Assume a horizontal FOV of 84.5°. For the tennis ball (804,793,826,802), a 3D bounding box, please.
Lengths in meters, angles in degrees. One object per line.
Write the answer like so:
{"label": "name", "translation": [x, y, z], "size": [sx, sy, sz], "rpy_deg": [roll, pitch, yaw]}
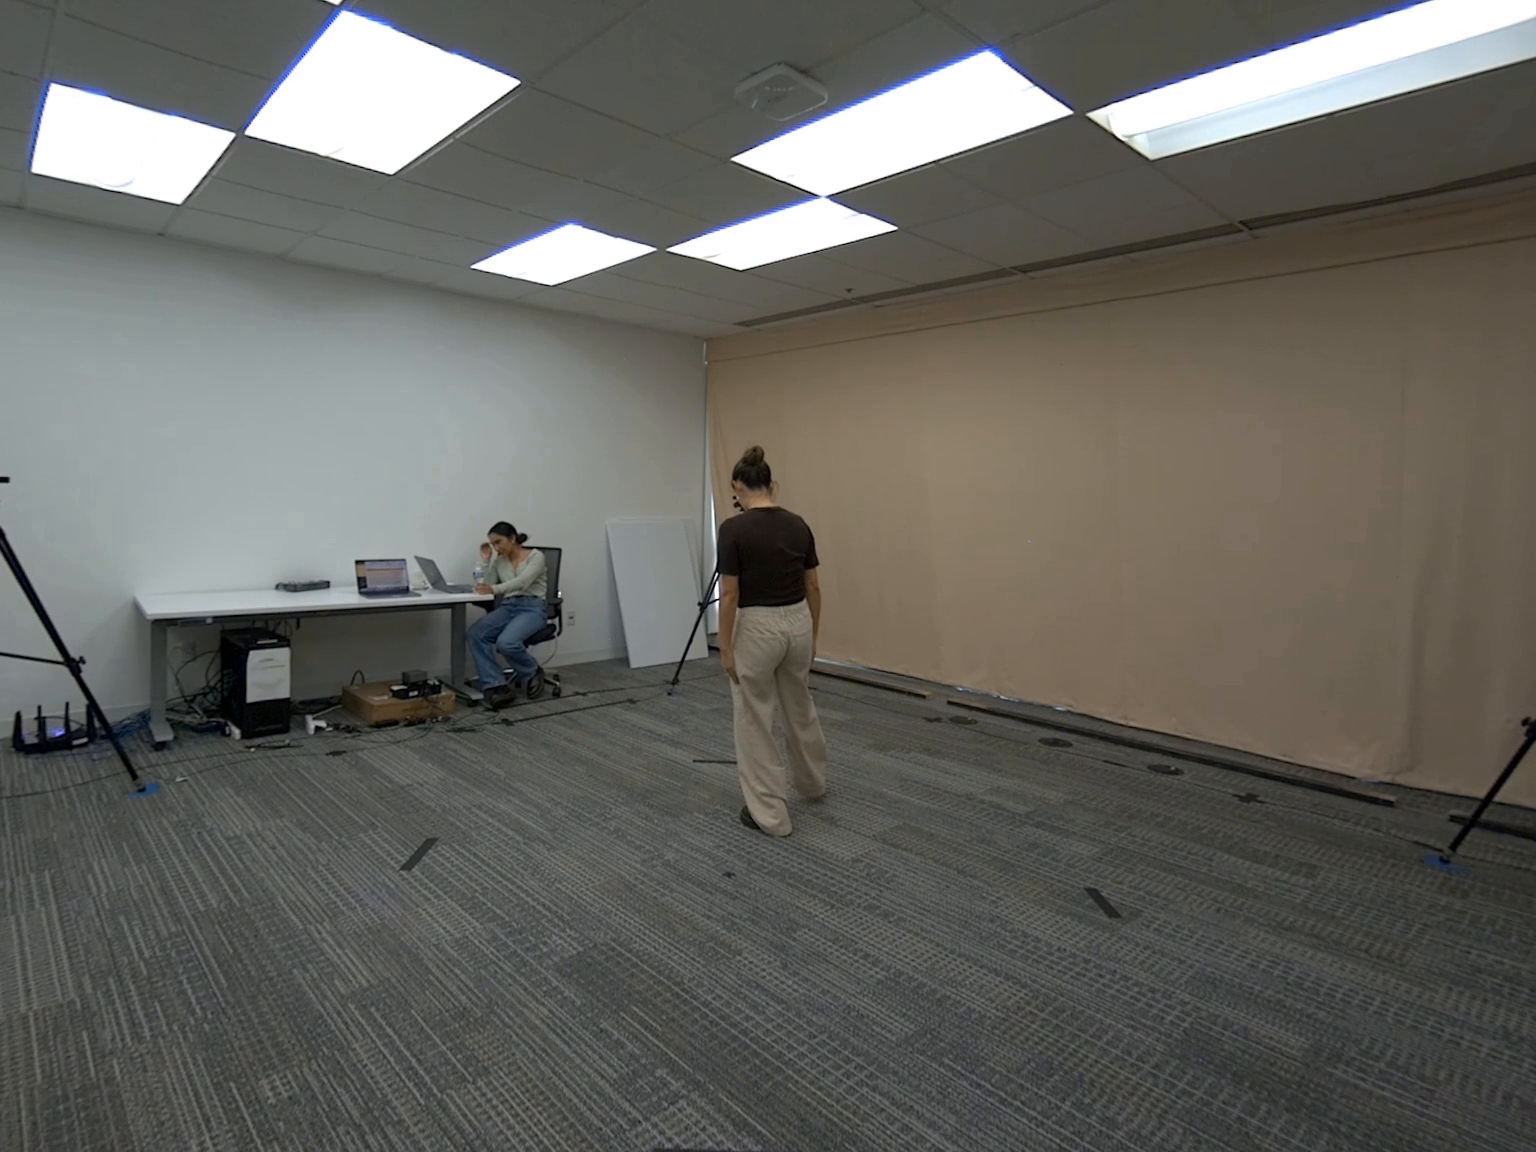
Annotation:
{"label": "tennis ball", "translation": [0.223, 0.999, 4.055], "size": [0.066, 0.066, 0.067], "rpy_deg": [1, 4, -1]}
